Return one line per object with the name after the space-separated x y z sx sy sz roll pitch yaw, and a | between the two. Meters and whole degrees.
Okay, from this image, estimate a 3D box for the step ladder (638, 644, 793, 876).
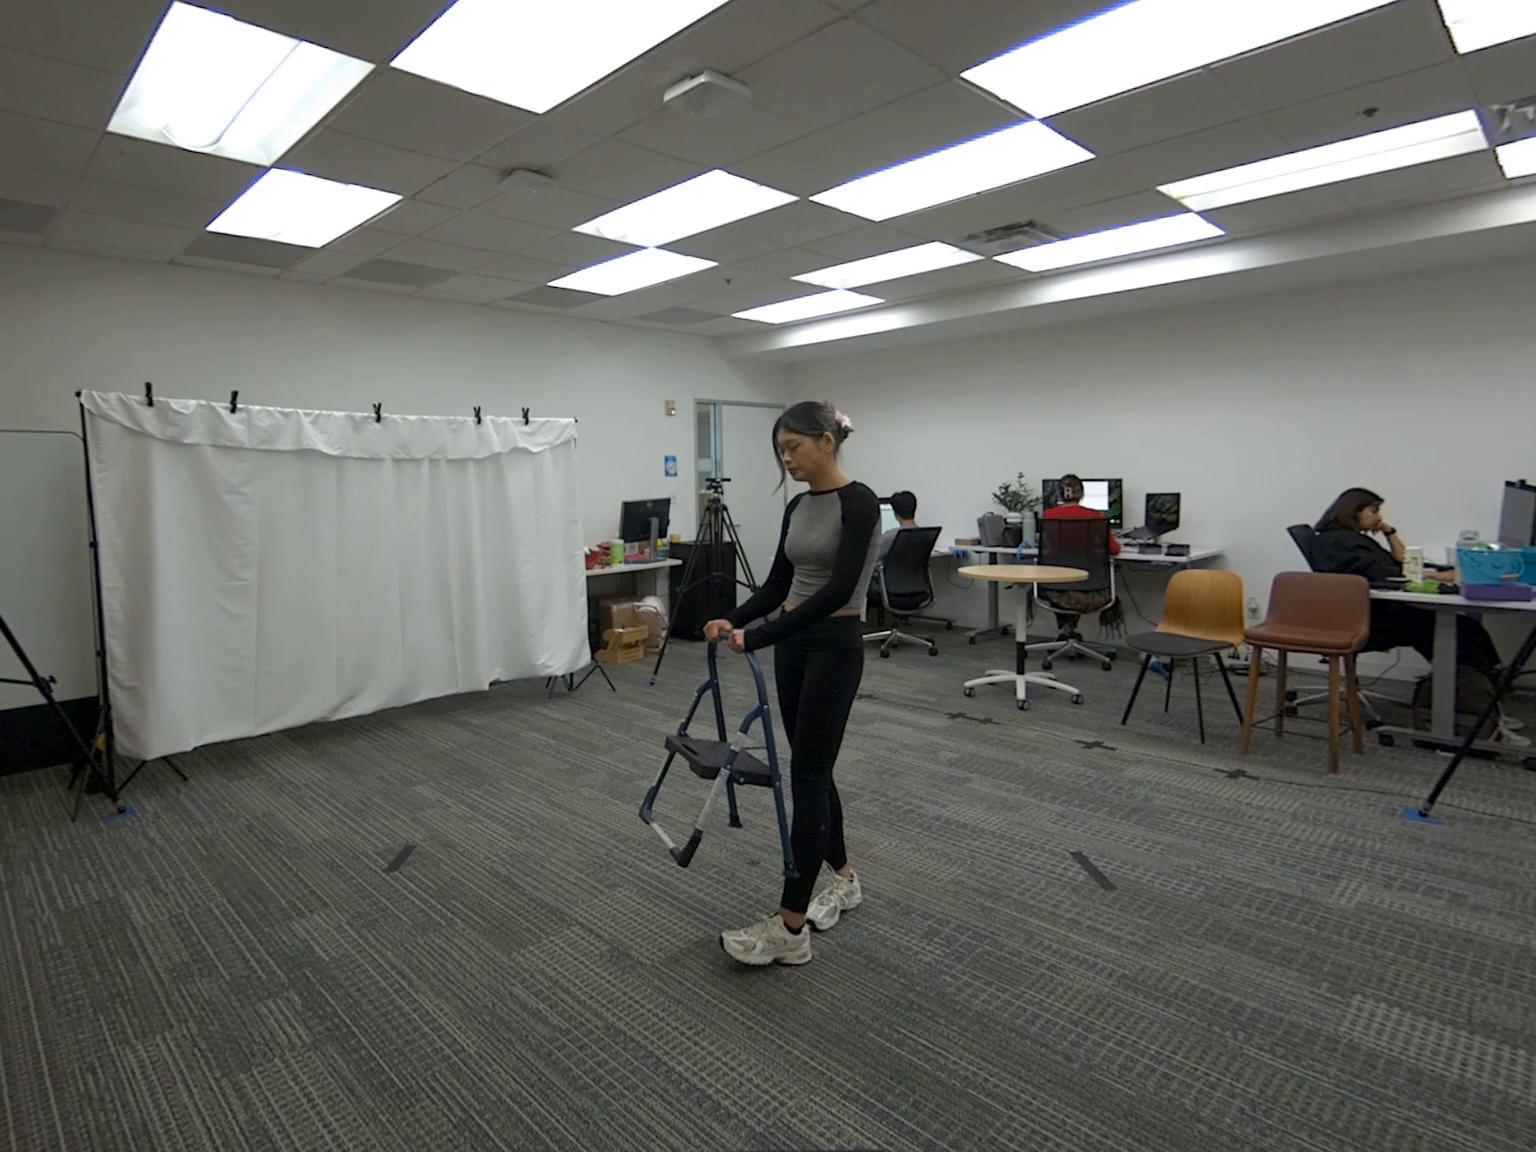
-0.098 0.479 2.470 0.341 0.607 0.440 13 -3 -24 | step ladder
